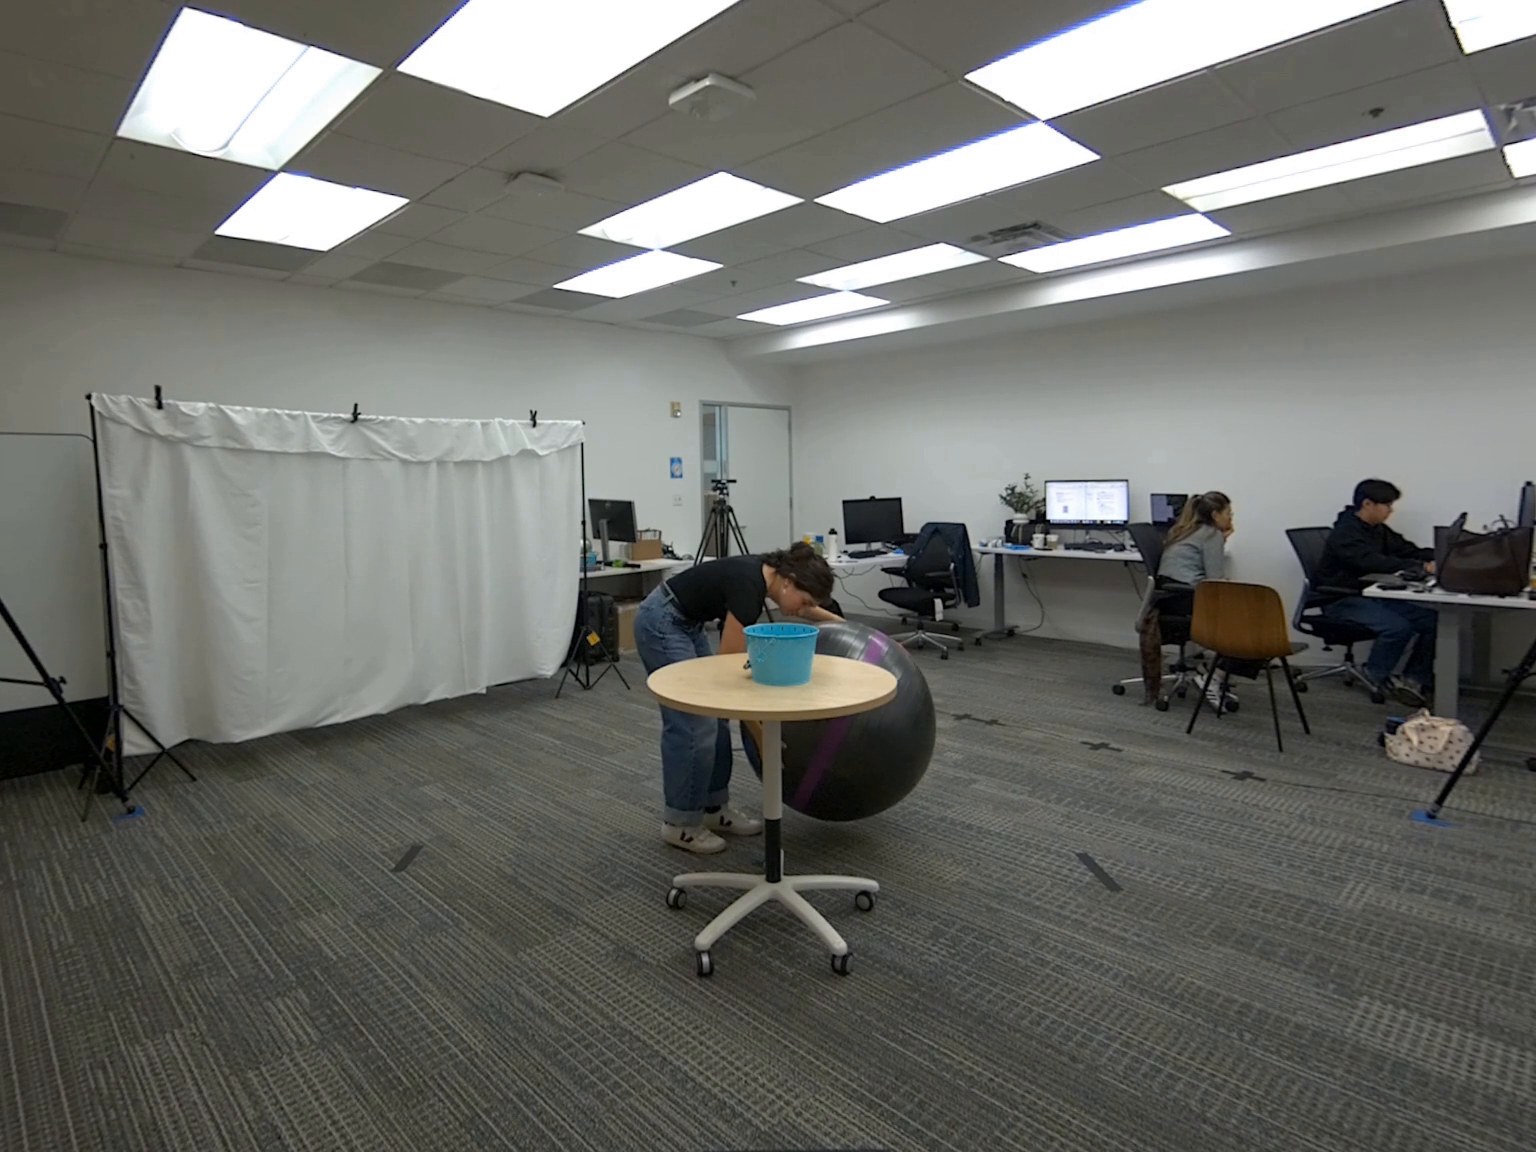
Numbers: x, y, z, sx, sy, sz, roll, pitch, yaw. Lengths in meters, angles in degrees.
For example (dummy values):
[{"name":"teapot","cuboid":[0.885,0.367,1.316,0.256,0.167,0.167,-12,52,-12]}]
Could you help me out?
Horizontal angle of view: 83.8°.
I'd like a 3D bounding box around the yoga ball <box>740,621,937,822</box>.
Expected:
[{"name":"yoga ball","cuboid":[0.268,0.566,3.347,0.757,0.755,0.762,-1,5,-2]}]
